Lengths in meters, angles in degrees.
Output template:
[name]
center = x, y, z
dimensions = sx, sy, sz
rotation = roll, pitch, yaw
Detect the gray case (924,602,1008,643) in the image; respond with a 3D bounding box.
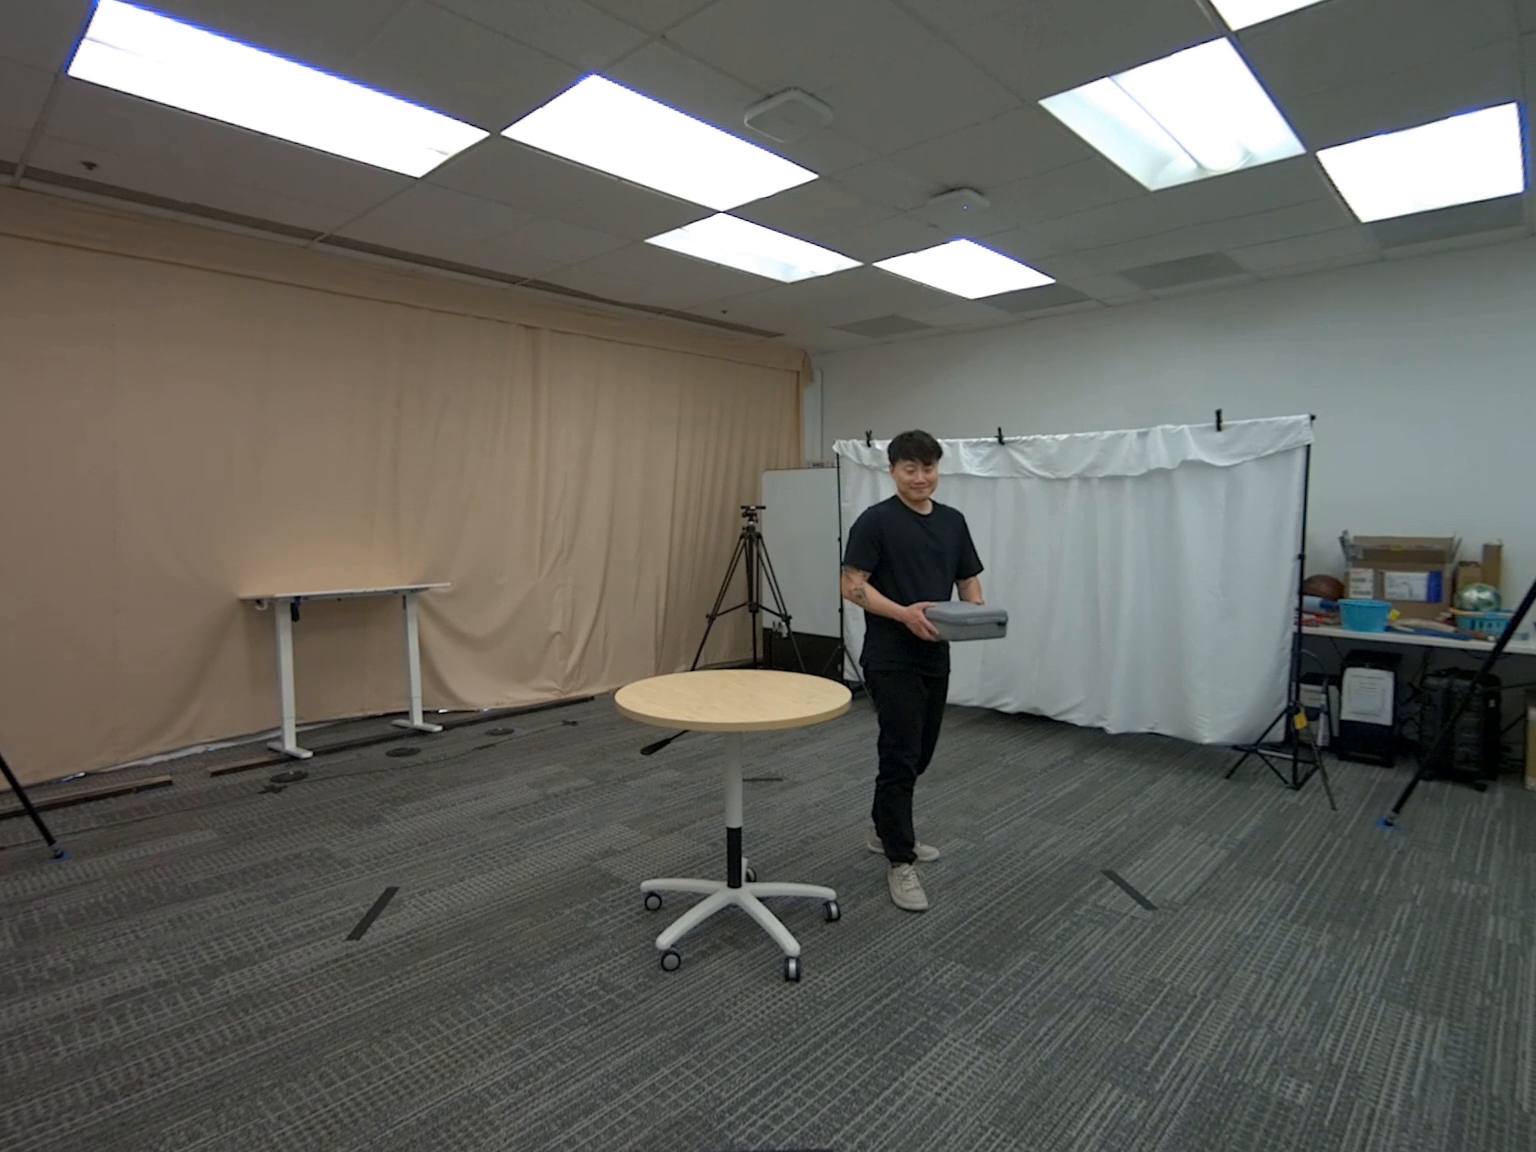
[gray case]
center = 0.668, 0.162, 2.952
dimensions = 0.254, 0.104, 0.265
rotation = -1, 5, -13
